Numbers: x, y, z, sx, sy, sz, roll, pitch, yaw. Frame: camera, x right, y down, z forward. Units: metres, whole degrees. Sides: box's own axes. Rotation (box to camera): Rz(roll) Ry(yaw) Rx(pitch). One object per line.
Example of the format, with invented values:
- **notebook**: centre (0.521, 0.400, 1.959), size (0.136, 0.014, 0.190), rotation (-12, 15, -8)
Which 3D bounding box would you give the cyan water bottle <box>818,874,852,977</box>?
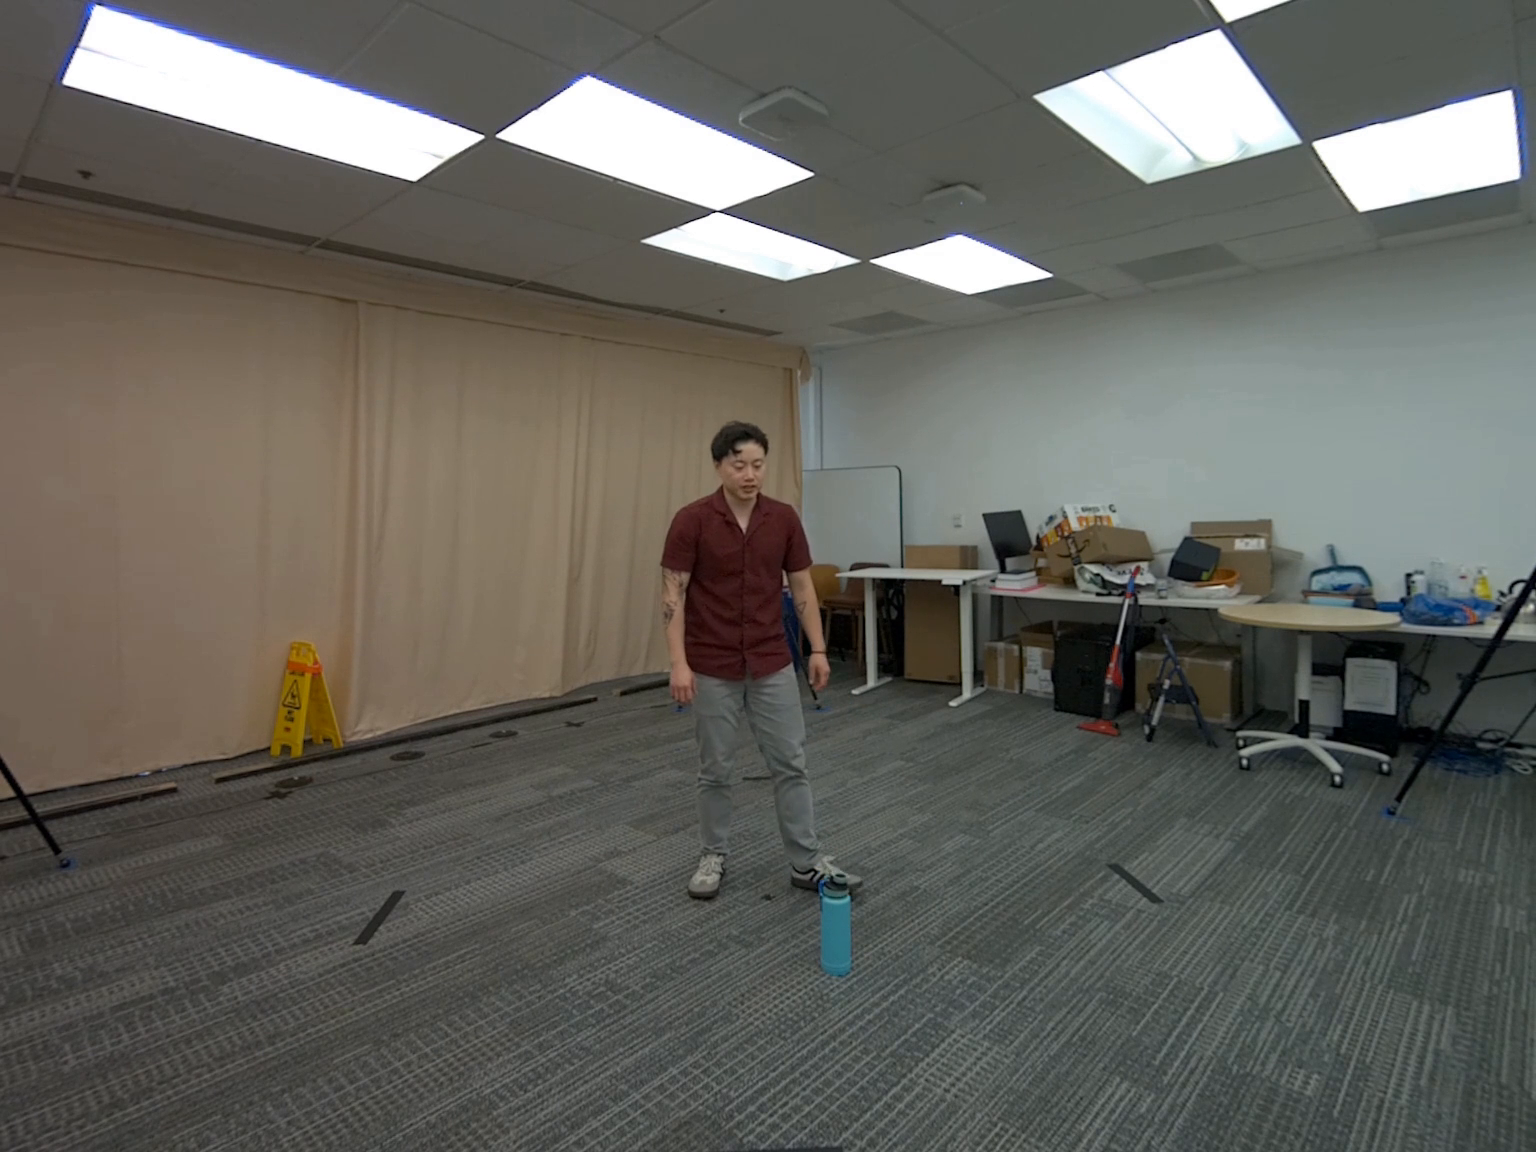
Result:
- **cyan water bottle**: centre (0.214, 1.033, 2.518), size (0.092, 0.283, 0.092), rotation (-2, 0, -2)
